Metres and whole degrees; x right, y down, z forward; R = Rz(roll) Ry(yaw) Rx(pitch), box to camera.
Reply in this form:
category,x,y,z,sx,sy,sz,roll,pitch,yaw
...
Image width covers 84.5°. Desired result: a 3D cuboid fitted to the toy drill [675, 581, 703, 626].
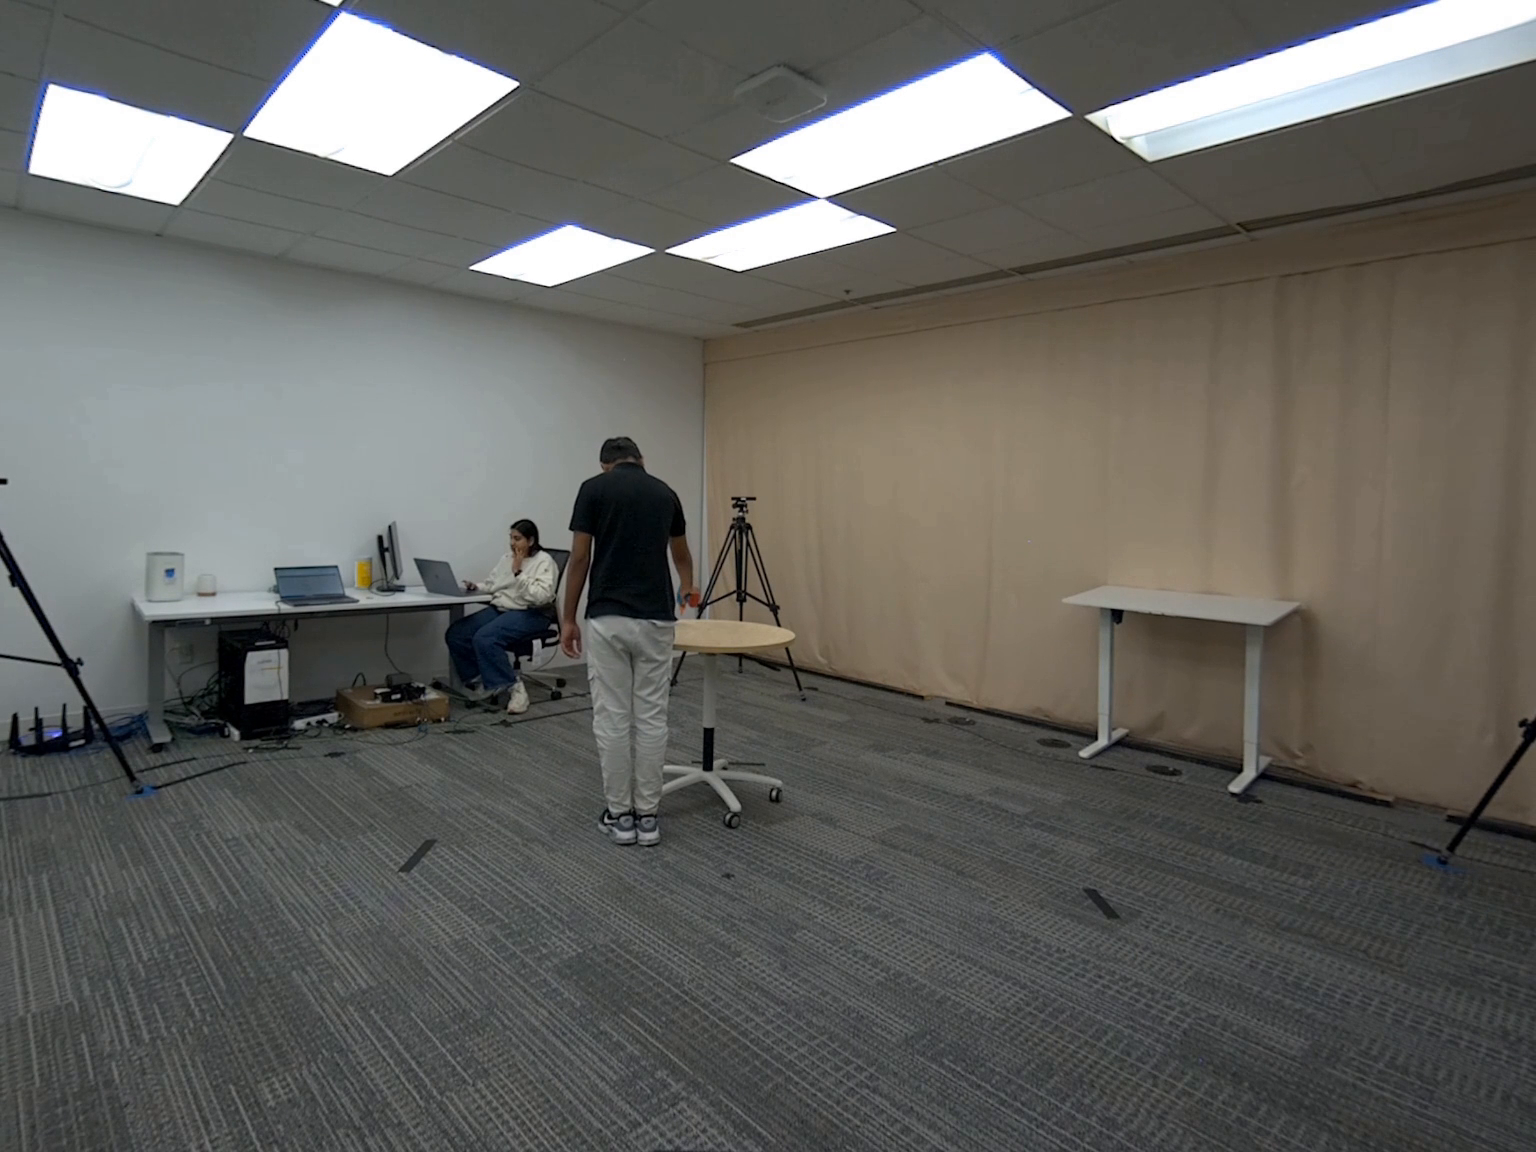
category,x,y,z,sx,sy,sz,roll,pitch,yaw
toy drill,-0.387,0.129,4.045,0.060,0.168,0.150,1,17,-32
